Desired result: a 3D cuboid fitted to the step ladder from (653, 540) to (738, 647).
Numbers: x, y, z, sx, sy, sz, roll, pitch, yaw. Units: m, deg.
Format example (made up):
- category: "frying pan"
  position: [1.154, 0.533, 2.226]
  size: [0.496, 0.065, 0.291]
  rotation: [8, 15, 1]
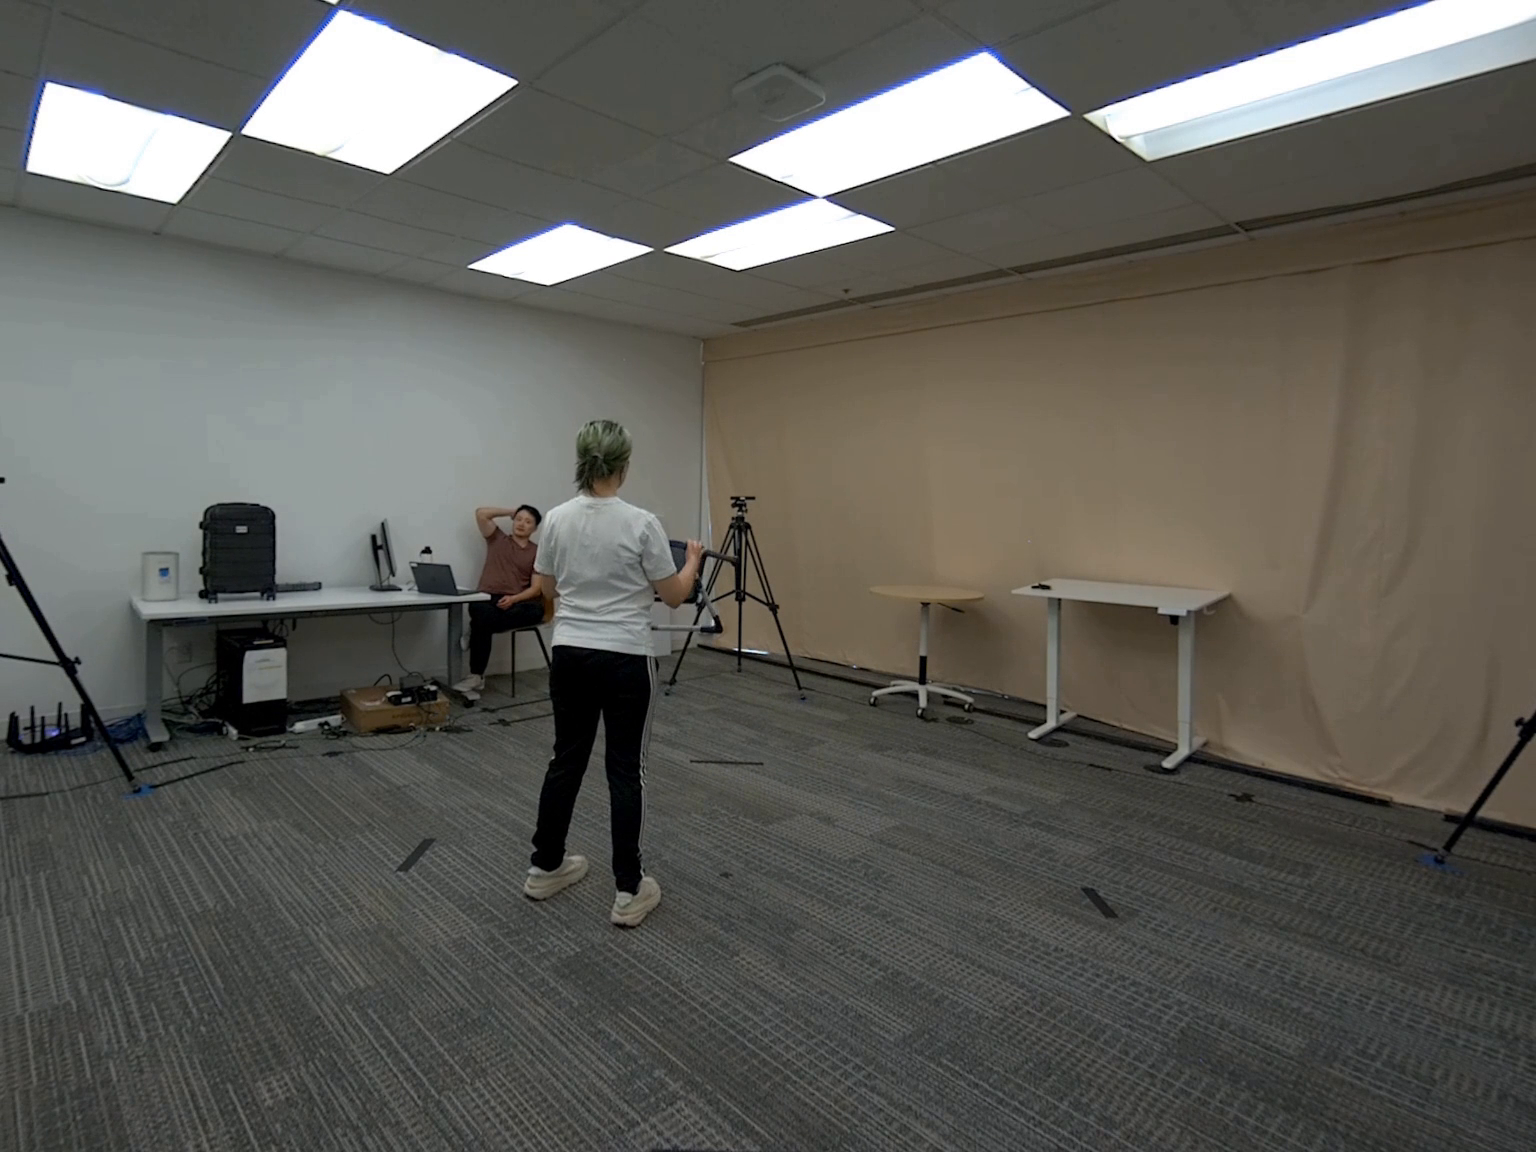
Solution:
- category: "step ladder"
  position: [-0.442, -0.043, 3.270]
  size: [0.437, 0.354, 0.588]
  rotation: [0, -28, 20]
